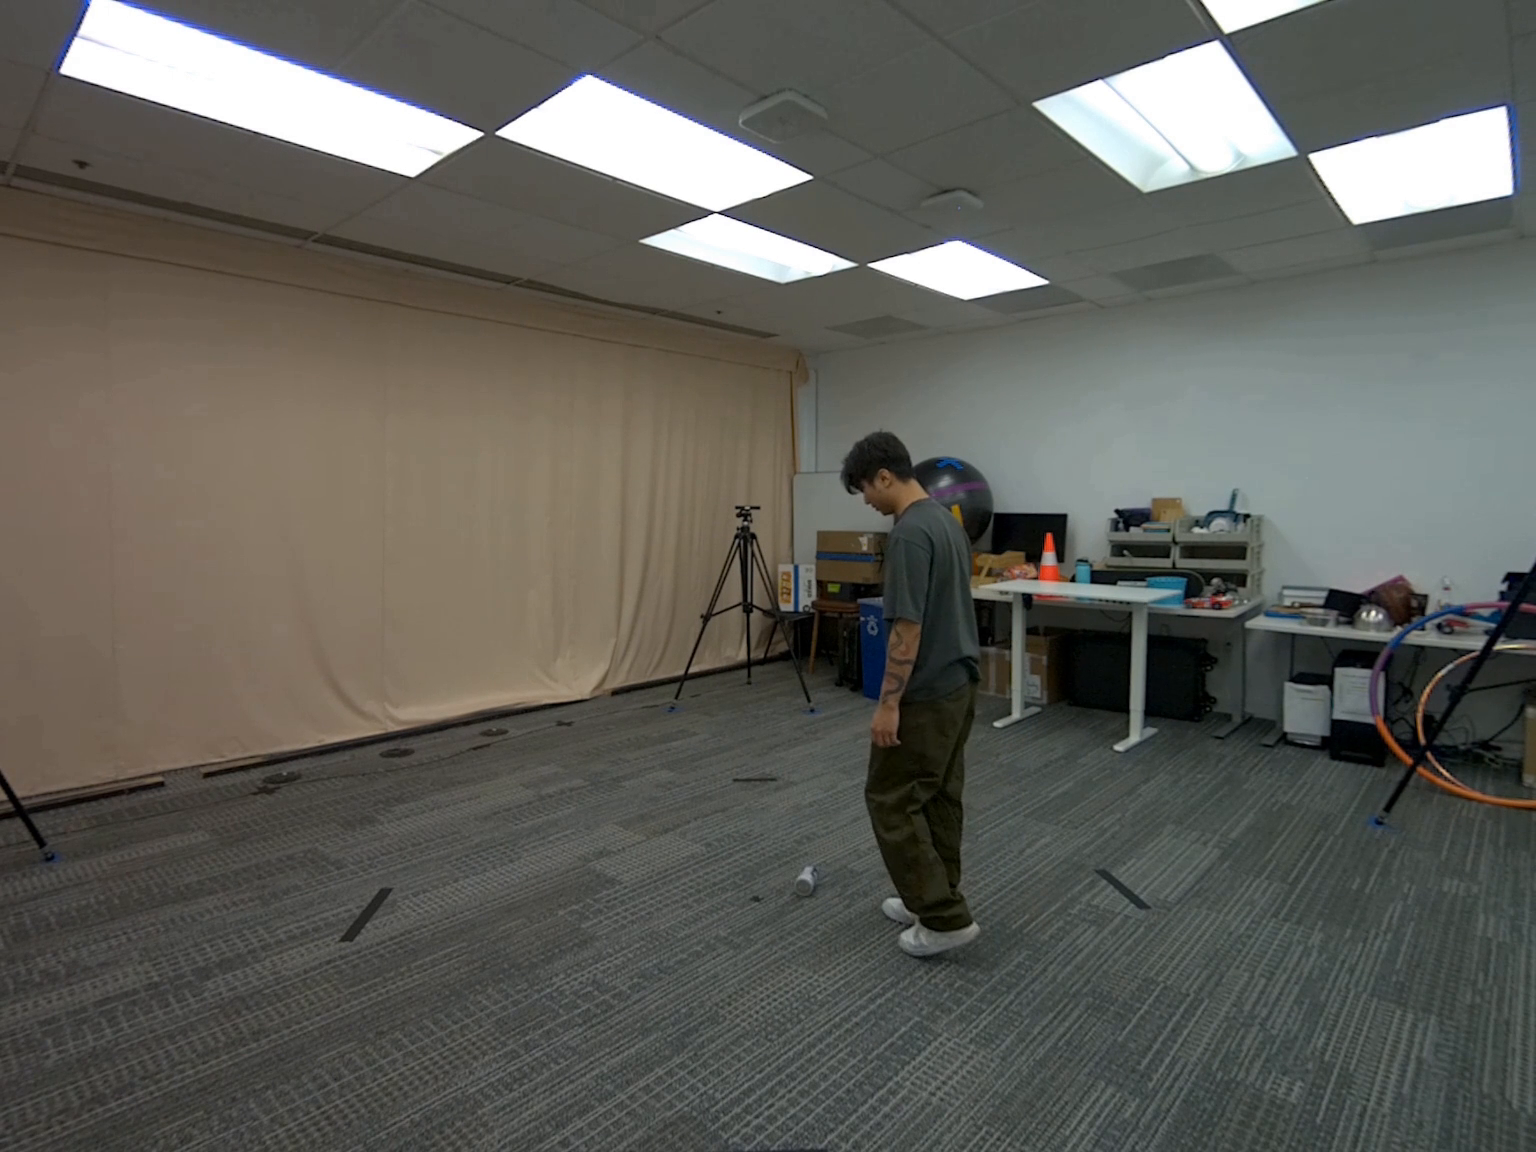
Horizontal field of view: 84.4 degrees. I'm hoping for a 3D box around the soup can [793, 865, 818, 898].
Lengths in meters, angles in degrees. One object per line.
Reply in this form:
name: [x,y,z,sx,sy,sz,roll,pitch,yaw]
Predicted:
soup can: [0.144,1.105,3.047,0.068,0.067,0.120,1,6,12]
